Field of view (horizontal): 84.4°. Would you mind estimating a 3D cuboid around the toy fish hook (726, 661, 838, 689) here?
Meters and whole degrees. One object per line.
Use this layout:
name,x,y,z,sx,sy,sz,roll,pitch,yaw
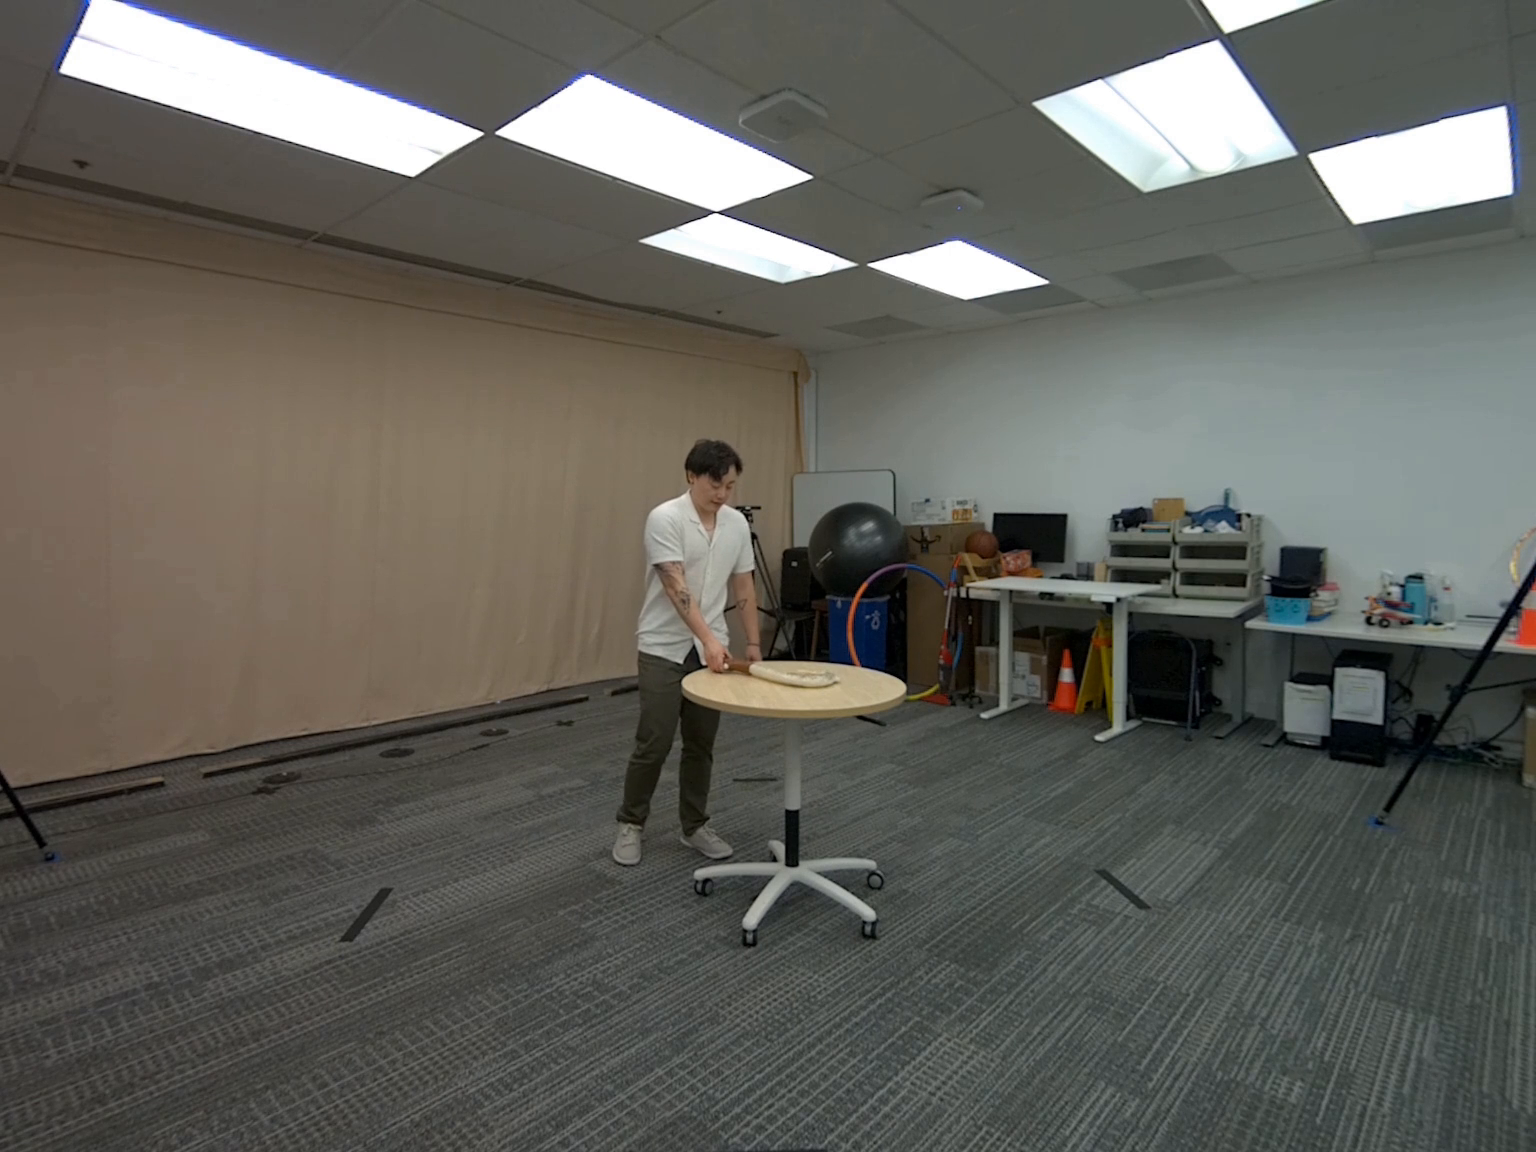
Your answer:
toy fish hook,0.026,0.346,3.001,0.523,0.048,0.217,6,0,37
